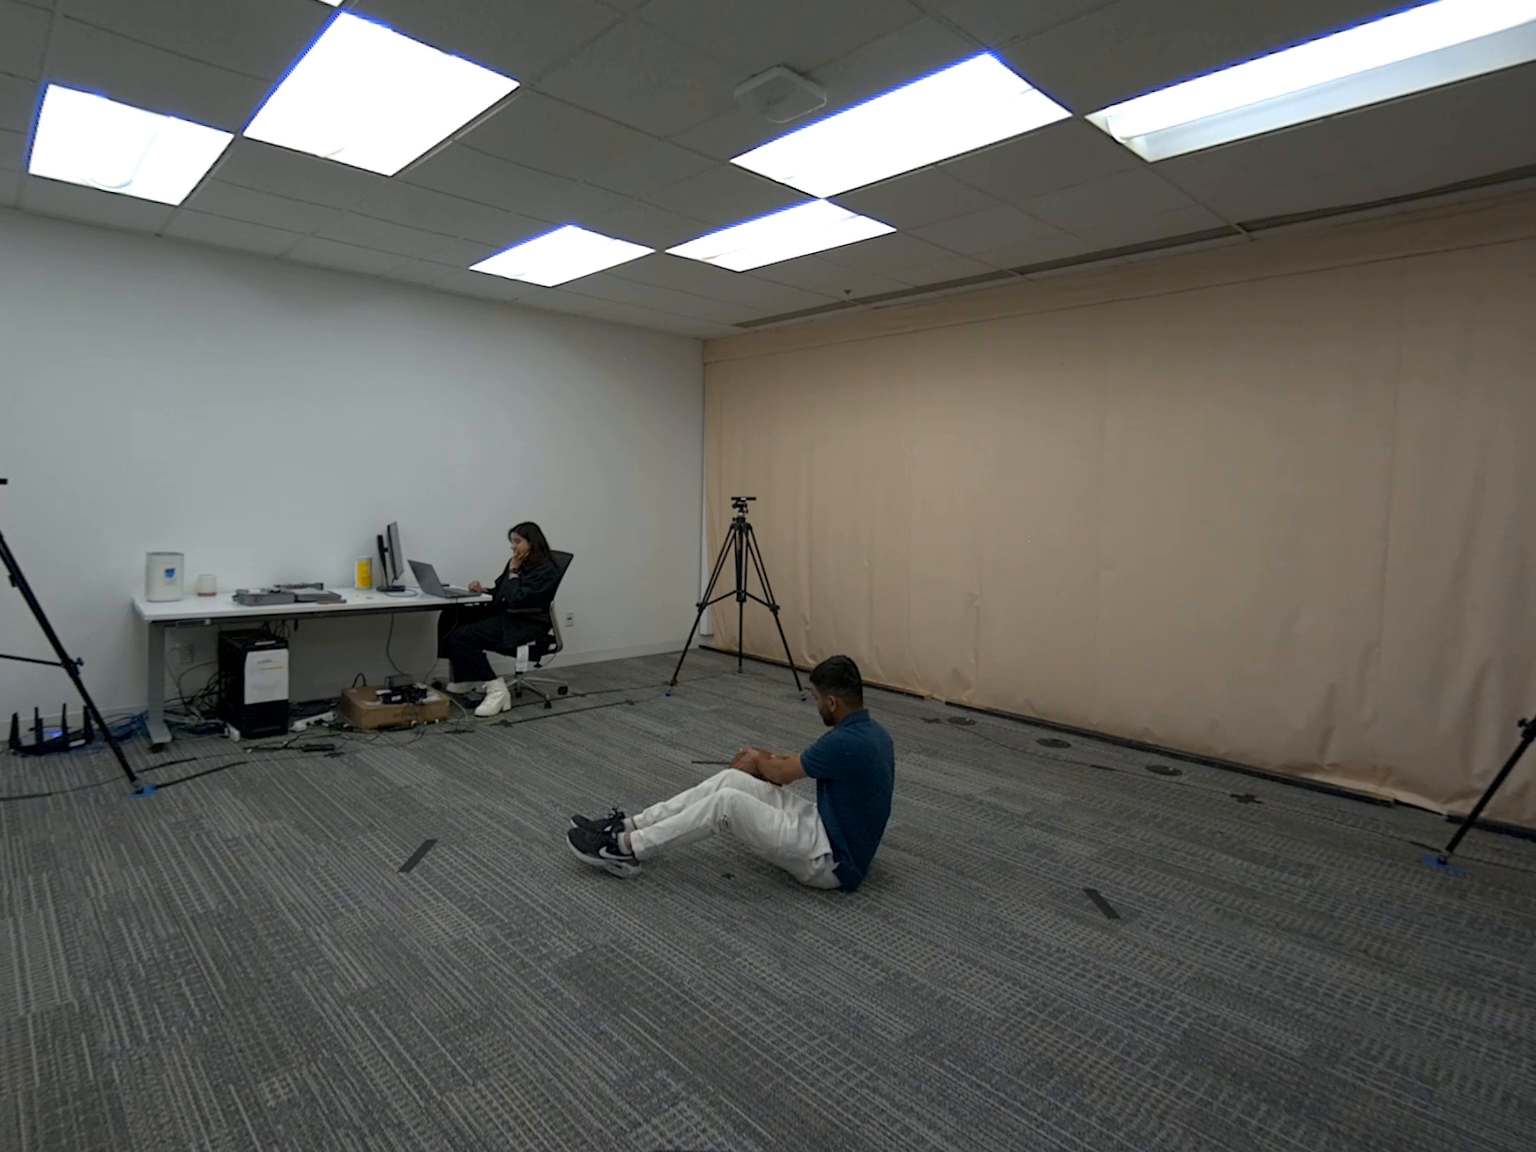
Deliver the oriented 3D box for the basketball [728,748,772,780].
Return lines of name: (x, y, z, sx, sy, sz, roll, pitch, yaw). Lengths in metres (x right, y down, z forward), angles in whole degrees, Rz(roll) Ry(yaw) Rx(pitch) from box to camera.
basketball: (-0.058, 0.837, 3.547, 0.236, 0.235, 0.237, 1, 4, -1)
